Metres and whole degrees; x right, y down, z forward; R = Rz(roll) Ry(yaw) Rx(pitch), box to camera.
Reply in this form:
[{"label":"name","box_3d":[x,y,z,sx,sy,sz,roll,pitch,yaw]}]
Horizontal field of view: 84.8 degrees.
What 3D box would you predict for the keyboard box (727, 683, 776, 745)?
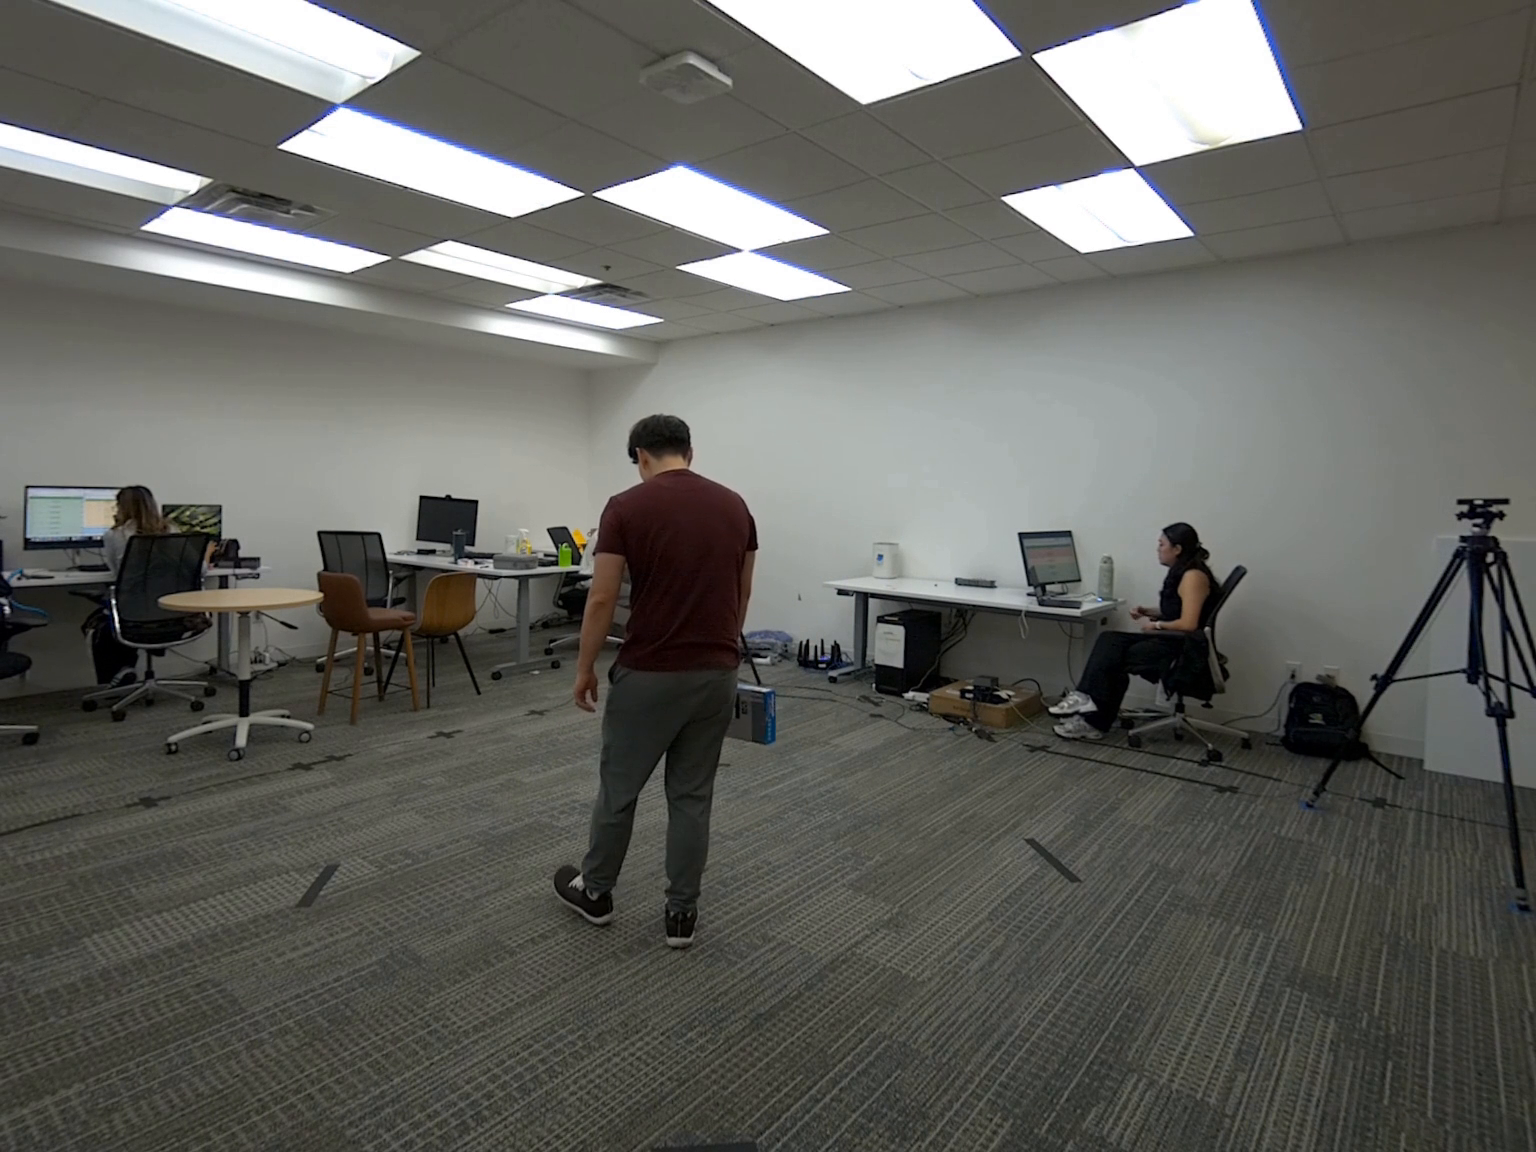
[{"label":"keyboard box","box_3d":[-0.179,0.447,2.880,0.451,0.175,0.057,3,4,38]}]
